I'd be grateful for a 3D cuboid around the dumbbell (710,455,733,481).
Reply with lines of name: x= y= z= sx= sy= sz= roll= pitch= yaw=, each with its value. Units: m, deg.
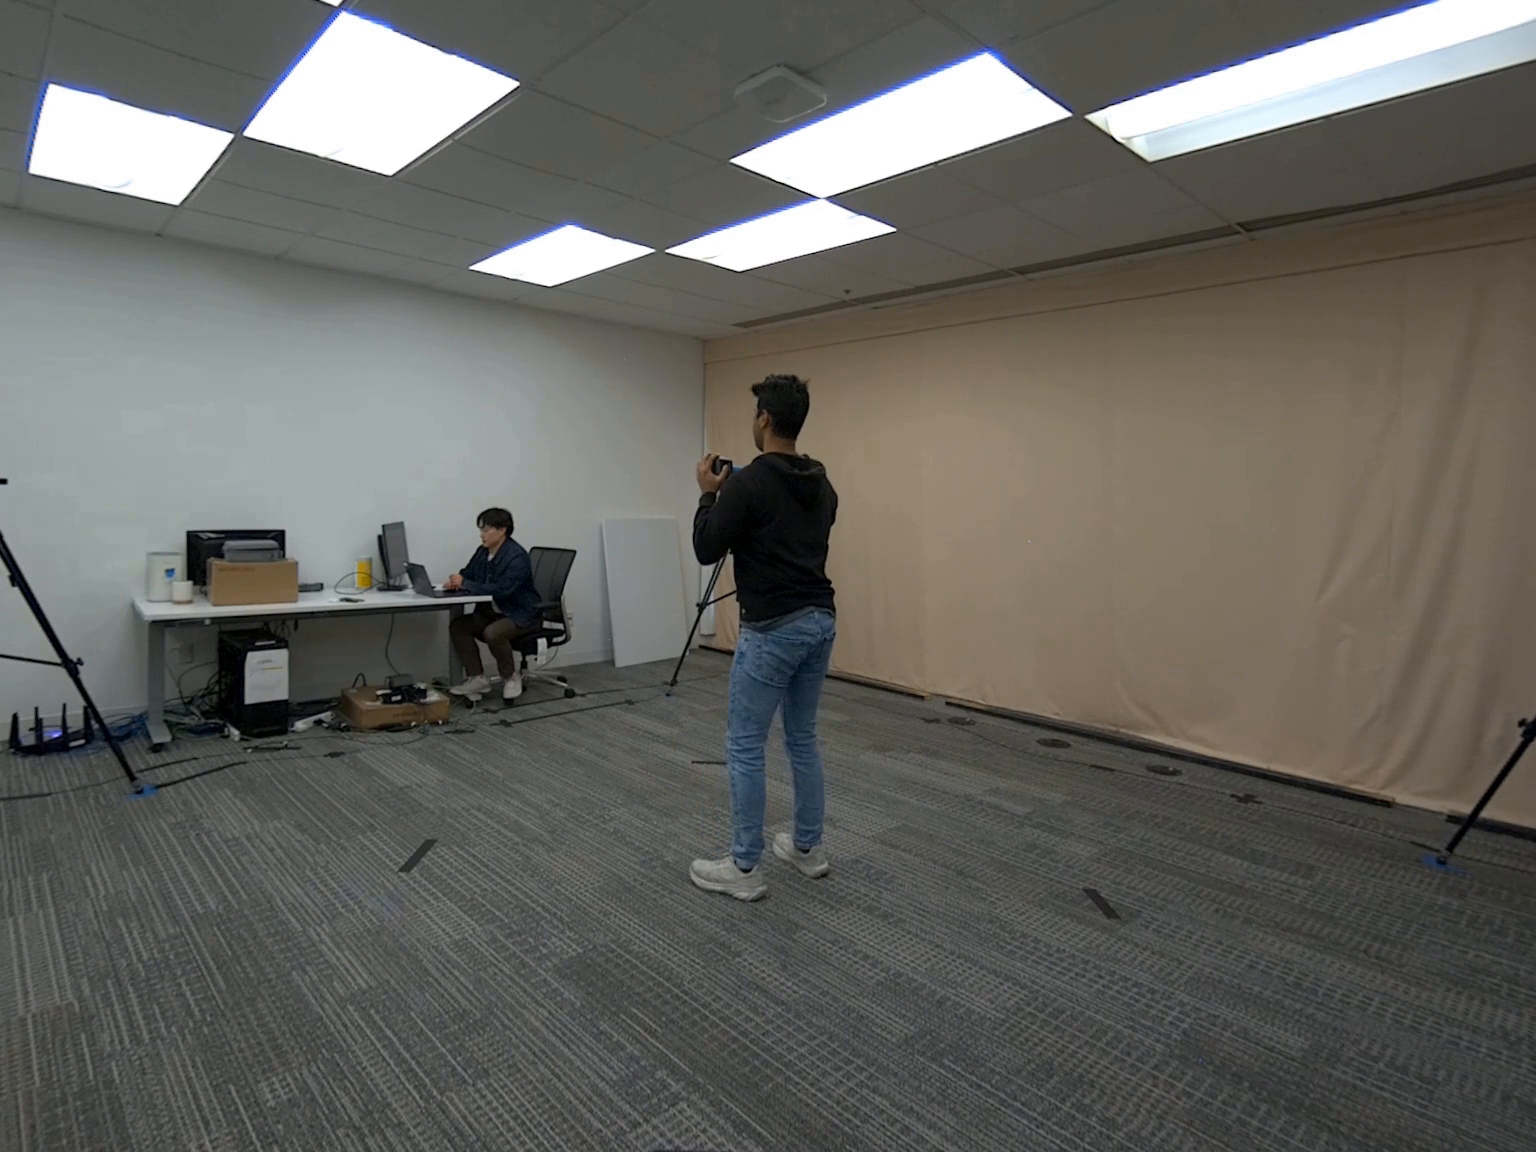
dumbbell: x=-0.104 y=-0.369 z=3.183 sx=0.286 sy=0.124 sz=0.111 roll=2 pitch=-9 yaw=-40
